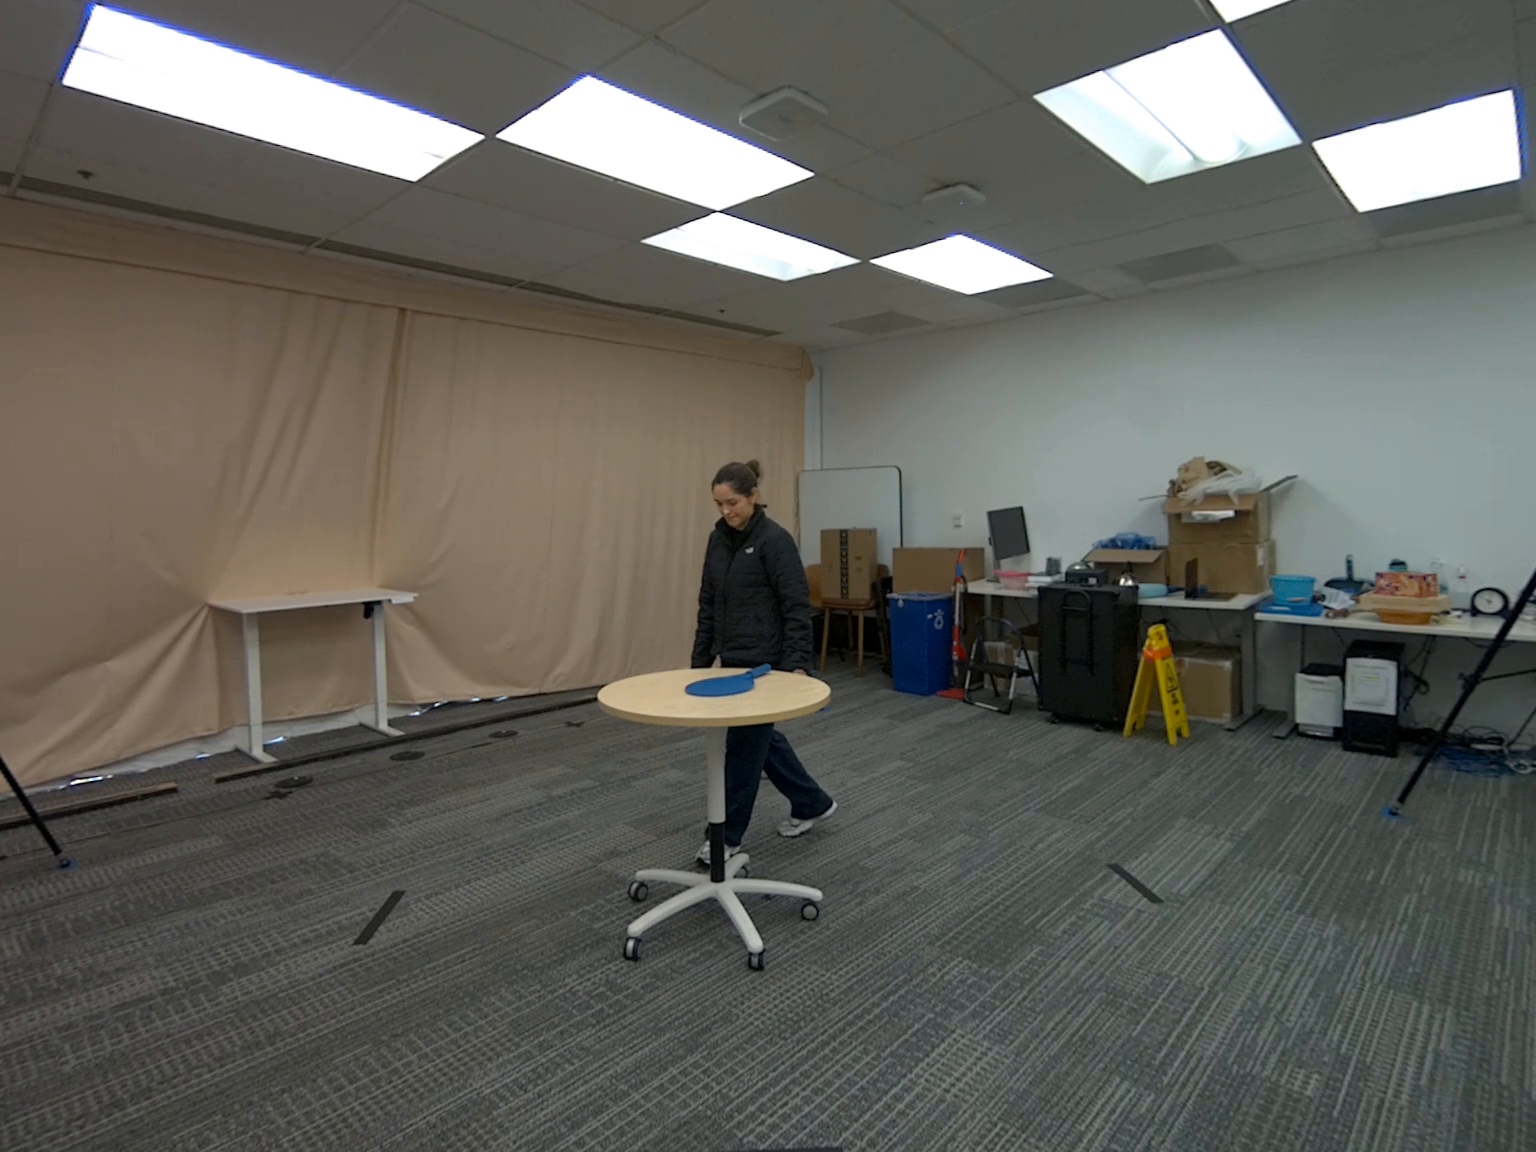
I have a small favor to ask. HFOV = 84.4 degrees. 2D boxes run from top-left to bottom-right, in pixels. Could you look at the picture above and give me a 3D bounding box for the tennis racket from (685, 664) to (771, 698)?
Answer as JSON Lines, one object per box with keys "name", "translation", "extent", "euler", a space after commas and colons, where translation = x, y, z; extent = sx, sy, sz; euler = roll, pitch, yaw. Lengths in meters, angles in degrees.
{"name": "tennis racket", "translation": [-0.105, 0.359, 2.874], "extent": [0.220, 0.031, 0.421], "euler": [3, 8, 35]}
